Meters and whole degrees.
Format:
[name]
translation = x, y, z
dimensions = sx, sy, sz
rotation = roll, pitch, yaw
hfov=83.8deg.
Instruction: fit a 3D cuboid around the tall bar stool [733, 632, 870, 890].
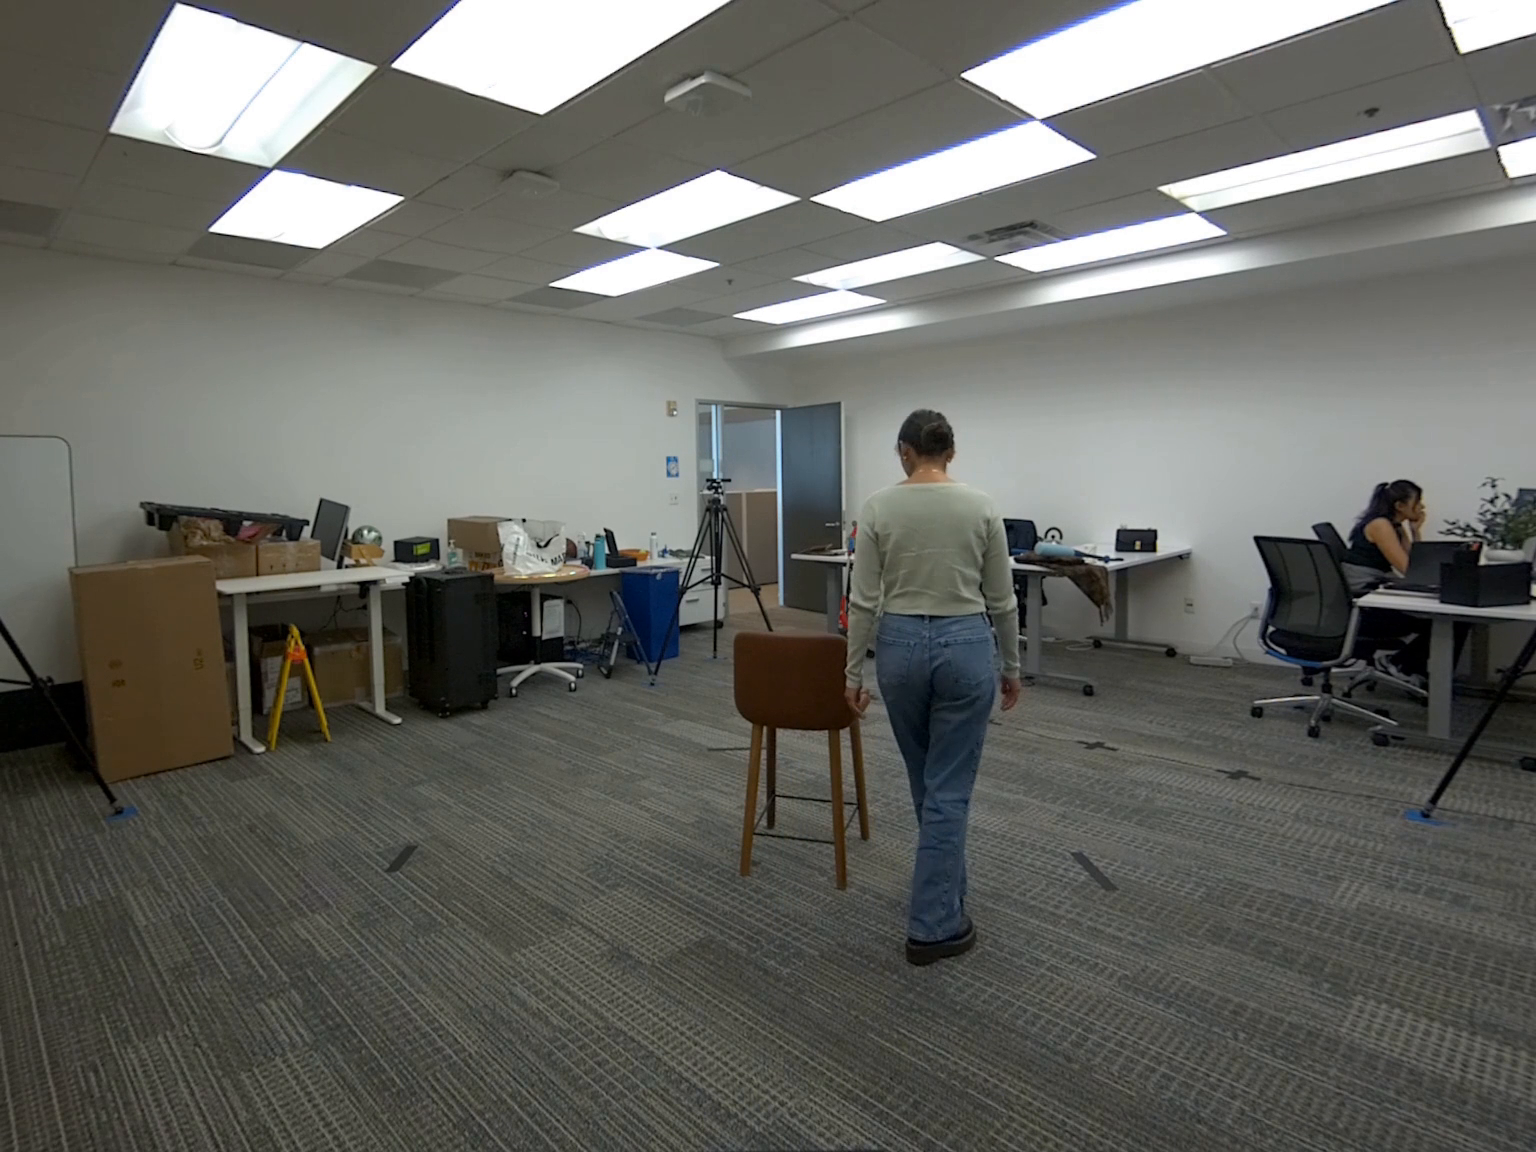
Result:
[tall bar stool]
translation = 0.133, 0.602, 3.129
dimensions = 0.465, 0.885, 0.462
rotation = 1, 6, 19
